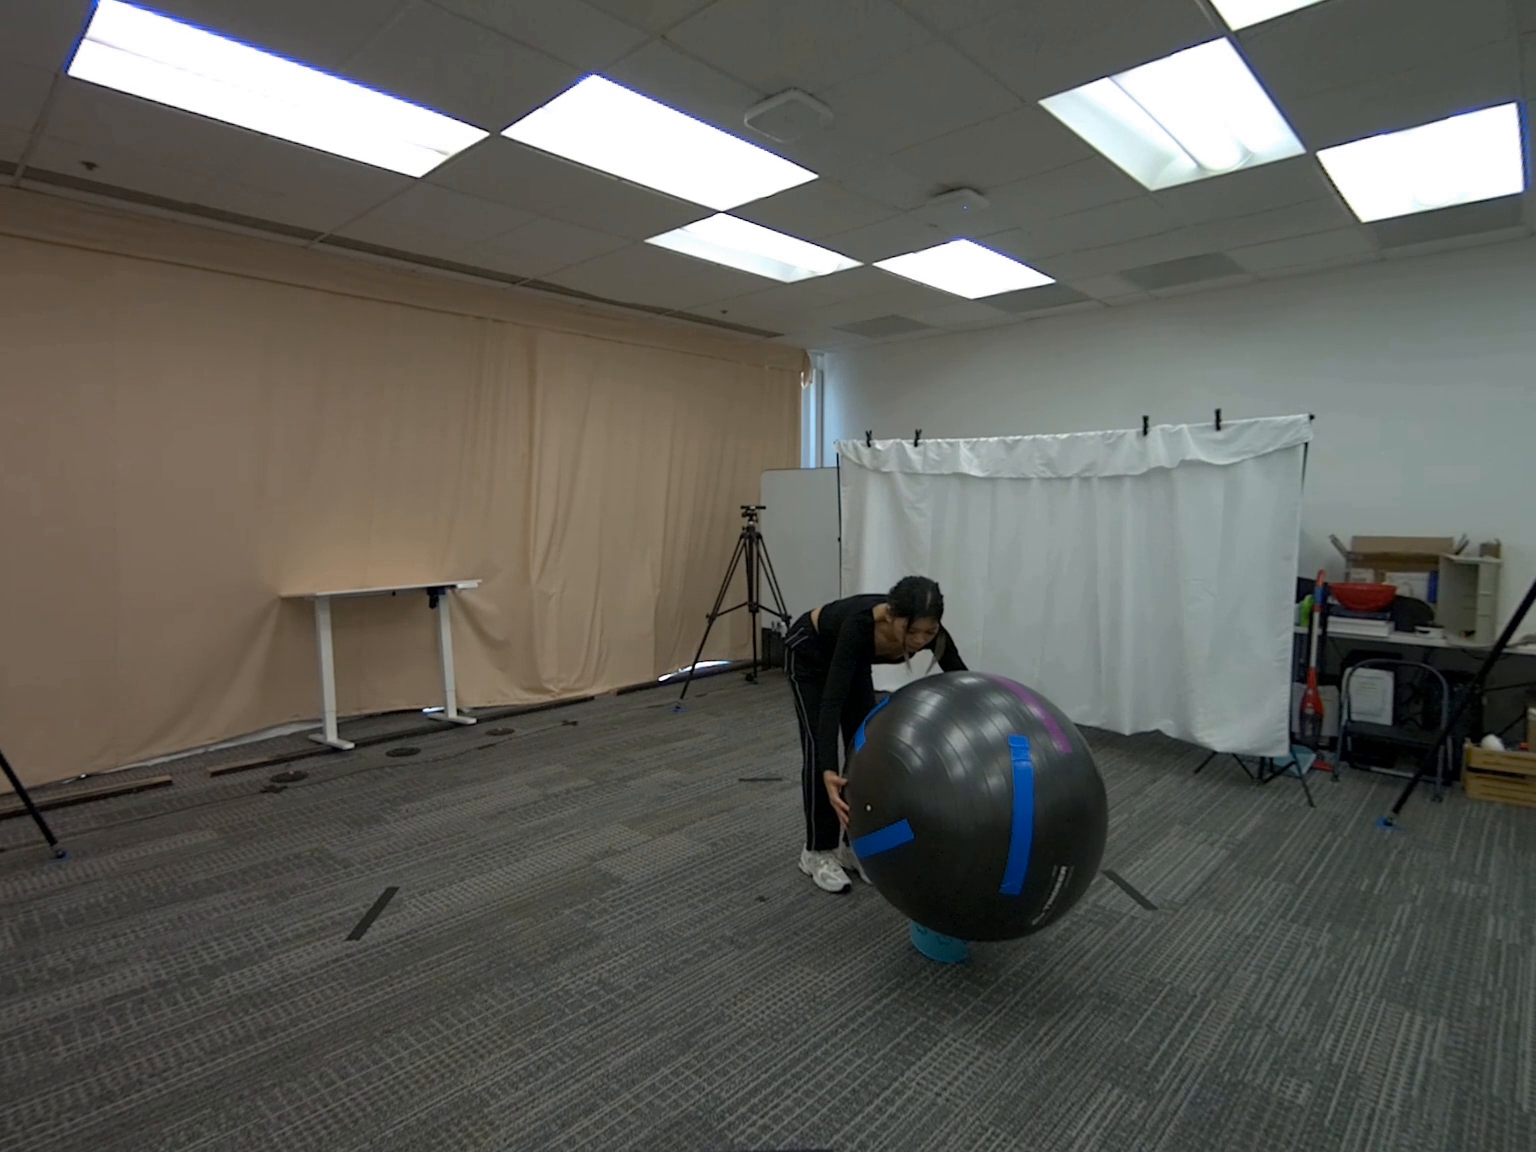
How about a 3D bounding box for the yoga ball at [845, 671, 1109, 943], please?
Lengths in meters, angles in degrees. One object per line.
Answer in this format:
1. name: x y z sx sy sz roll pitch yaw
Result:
1. yoga ball: 0.604 0.671 2.498 0.757 0.756 0.760 0 4 -2
